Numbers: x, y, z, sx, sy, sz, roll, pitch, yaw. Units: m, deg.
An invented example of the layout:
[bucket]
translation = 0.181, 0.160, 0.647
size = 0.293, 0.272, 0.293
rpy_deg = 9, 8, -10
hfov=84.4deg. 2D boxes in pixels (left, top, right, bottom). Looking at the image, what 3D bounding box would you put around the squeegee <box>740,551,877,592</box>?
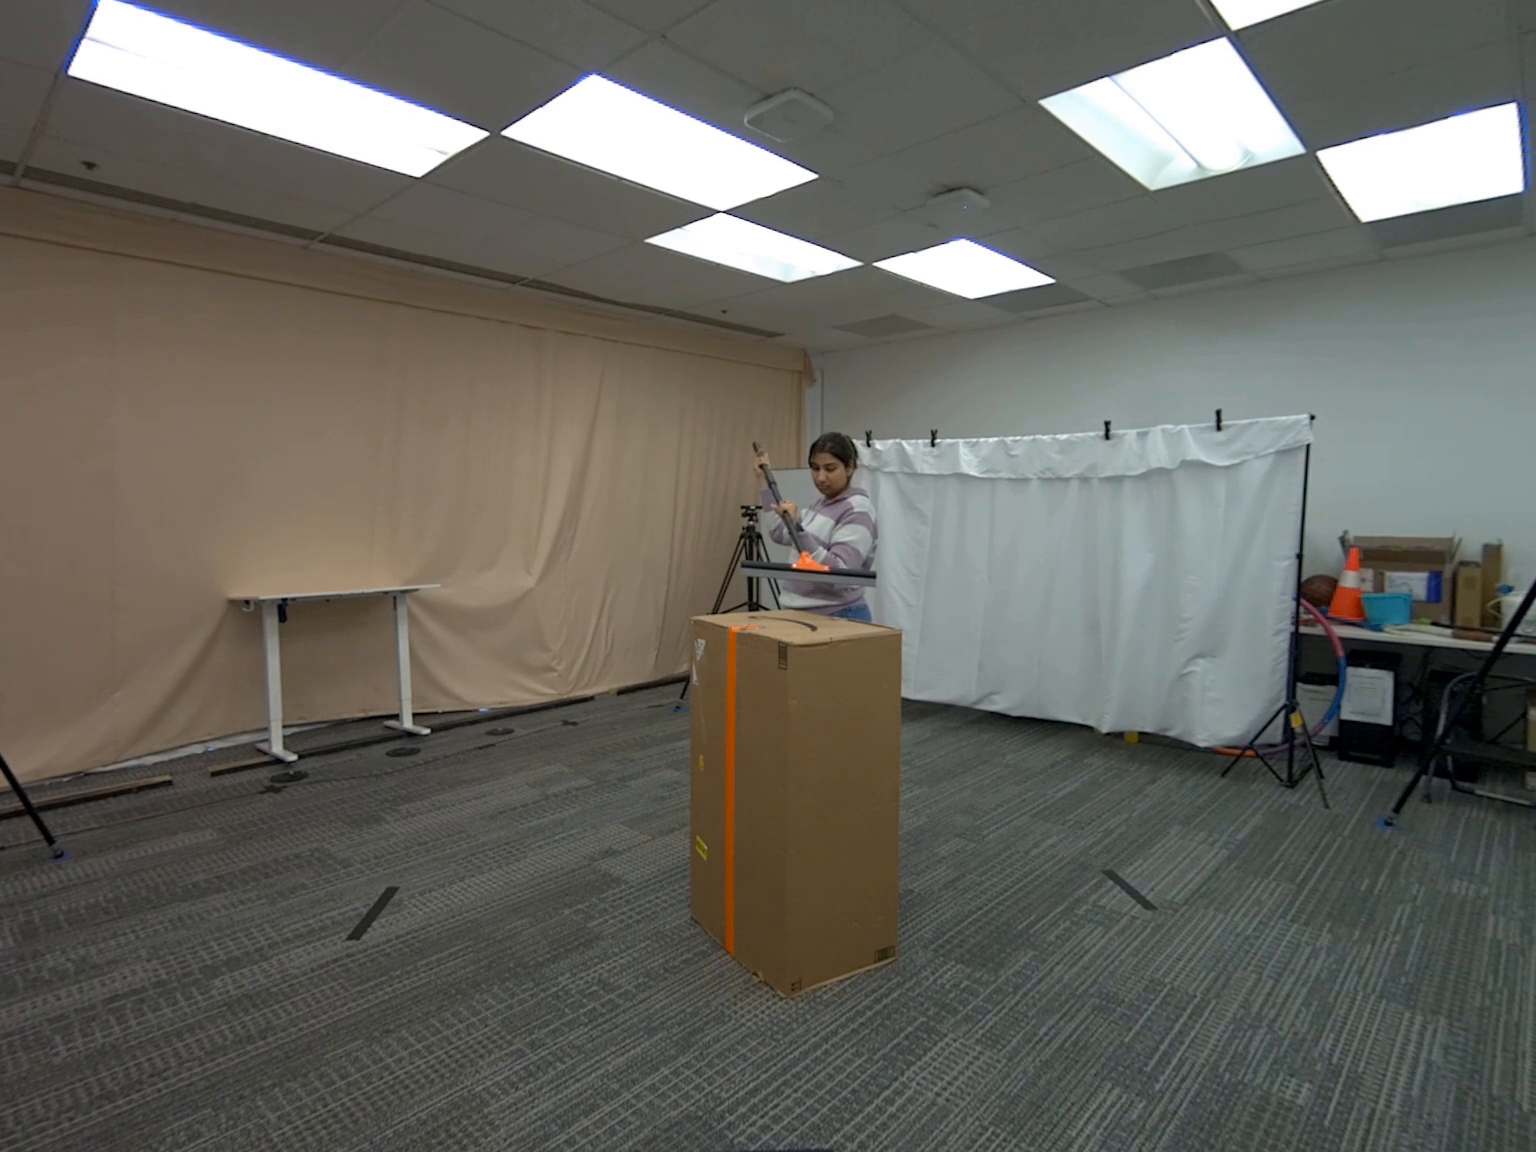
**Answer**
[squeegee]
translation = 0.035, -0.315, 3.319
size = 0.433, 0.052, 1.567
rpy_deg = 8, 24, -10
